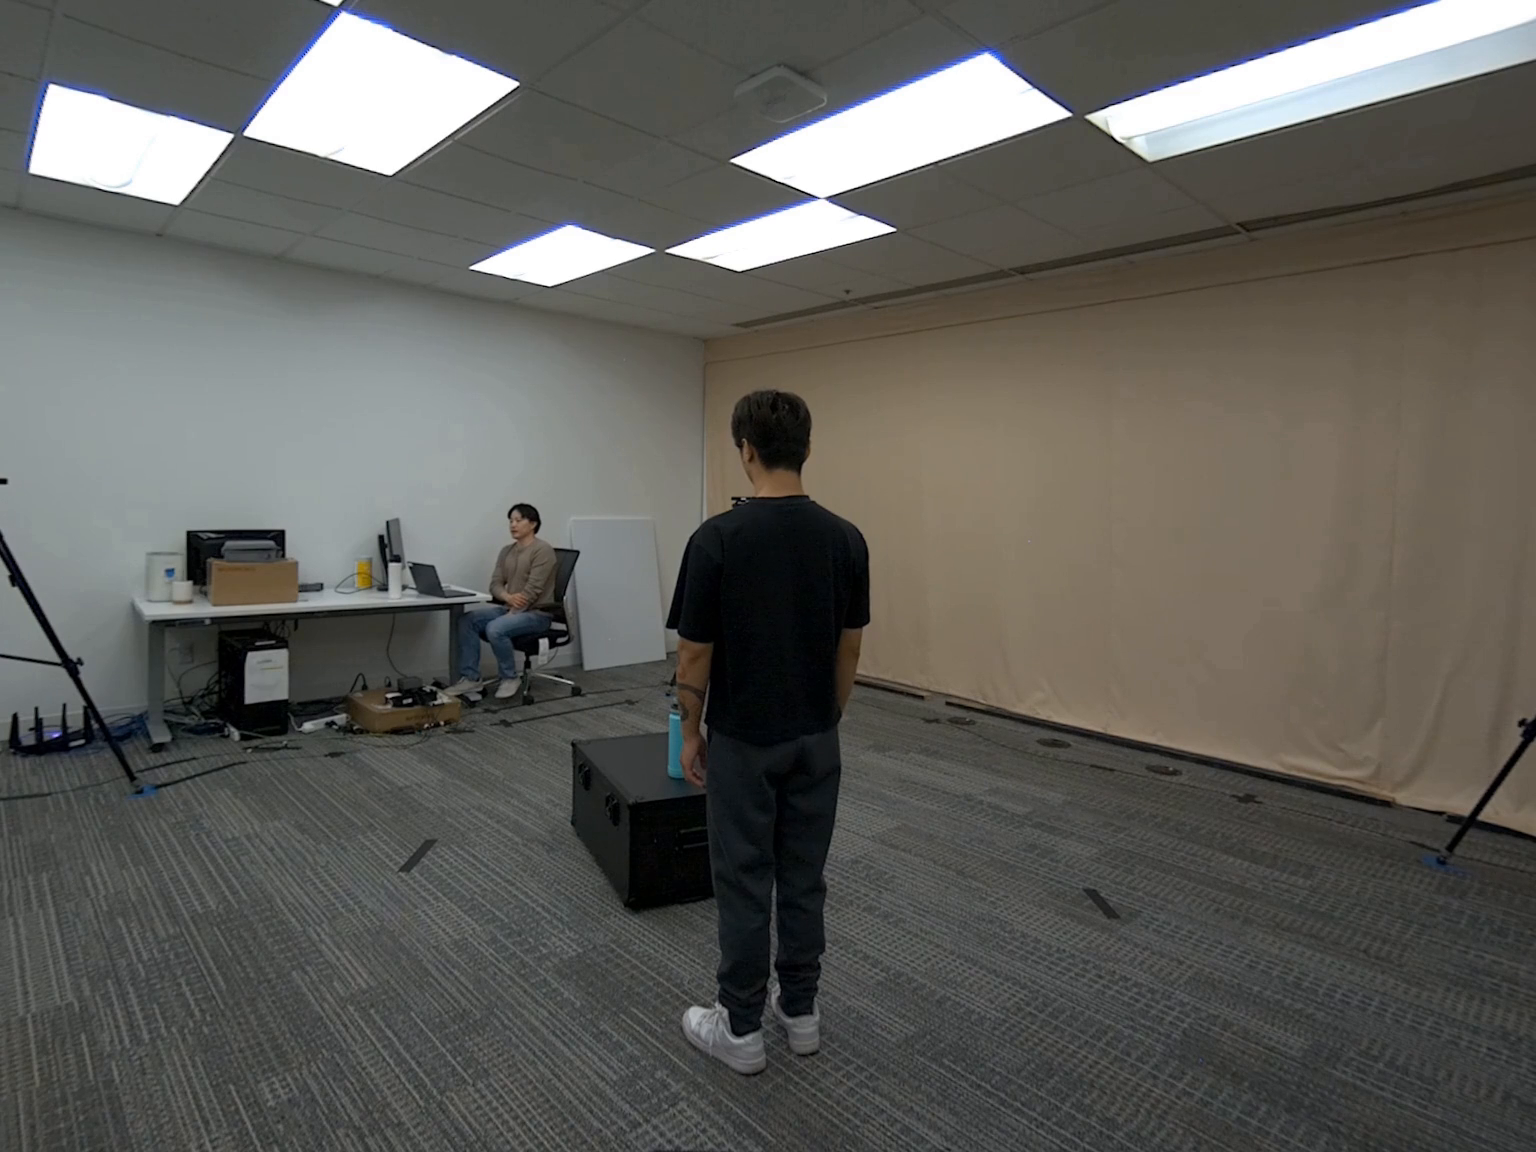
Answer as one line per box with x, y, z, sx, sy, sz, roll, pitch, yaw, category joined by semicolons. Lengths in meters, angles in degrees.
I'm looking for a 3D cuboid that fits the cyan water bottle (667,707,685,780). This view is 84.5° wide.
-0.324;0.587;3.082;0.092;0.283;0.092;2;2;-2;cyan water bottle
